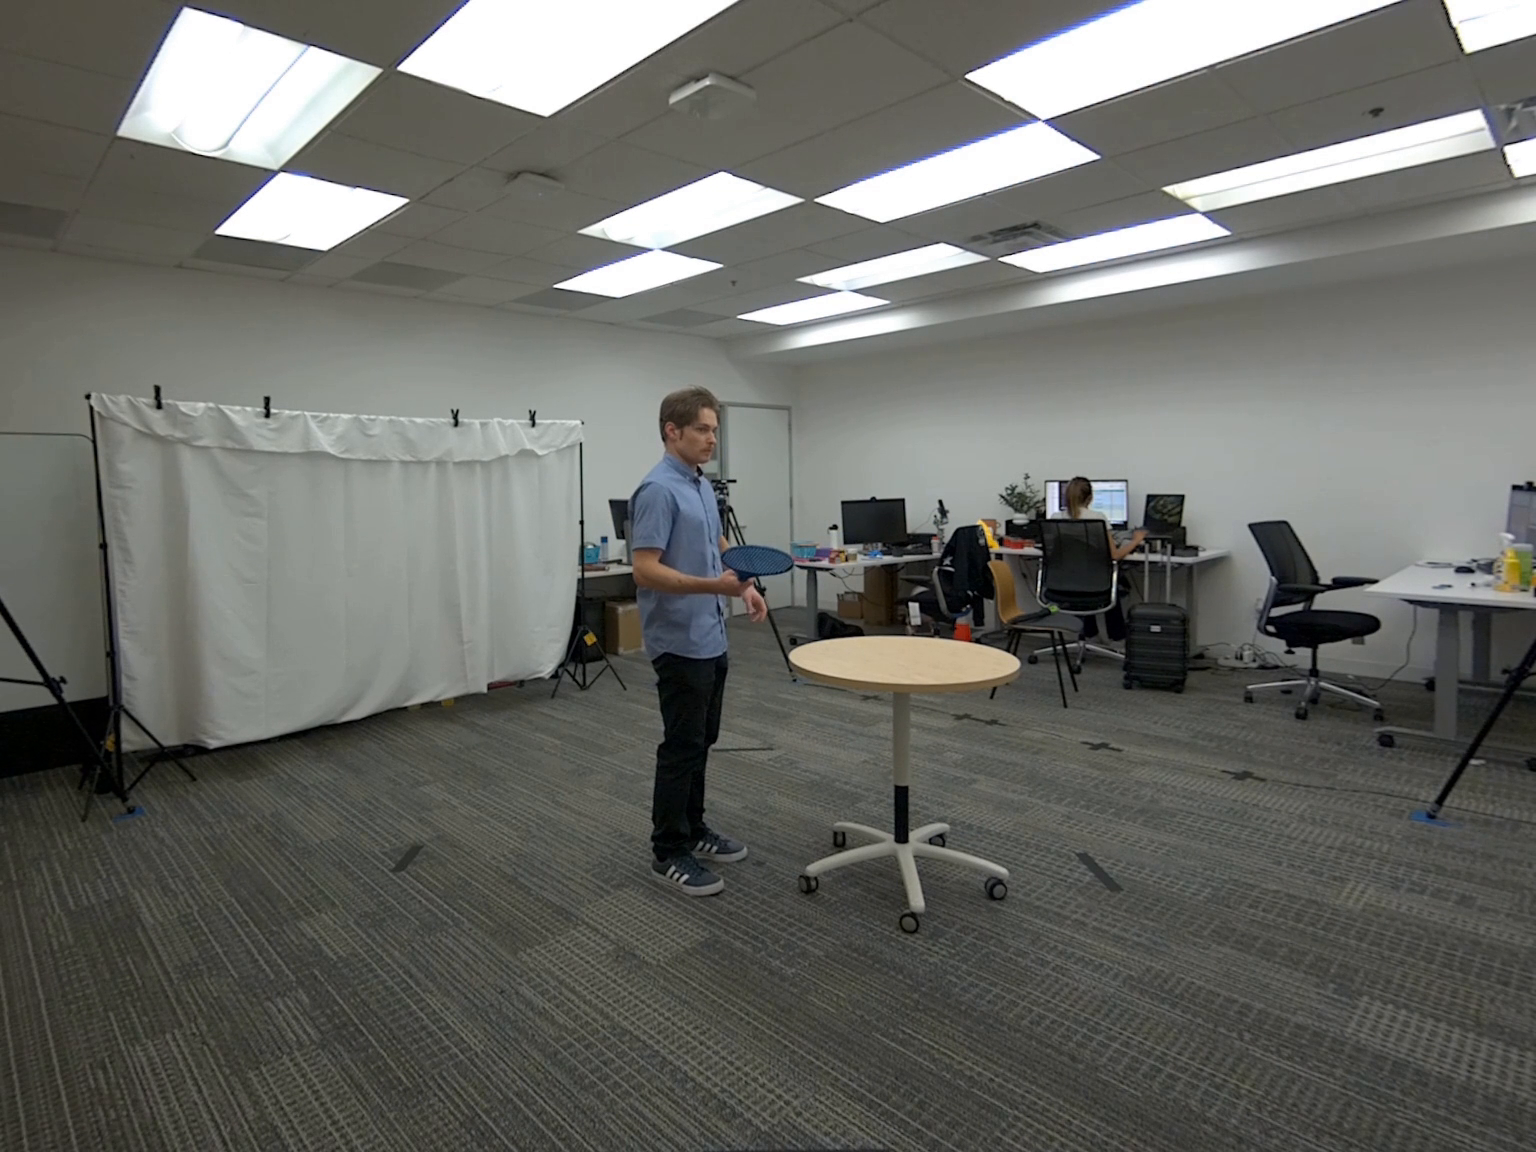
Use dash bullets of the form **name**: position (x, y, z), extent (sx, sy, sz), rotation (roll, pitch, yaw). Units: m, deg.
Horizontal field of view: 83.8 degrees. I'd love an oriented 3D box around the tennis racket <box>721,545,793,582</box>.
- **tennis racket**: position (-0.040, -0.024, 2.594), extent (0.212, 0.032, 0.431), rotation (14, -15, -8)
